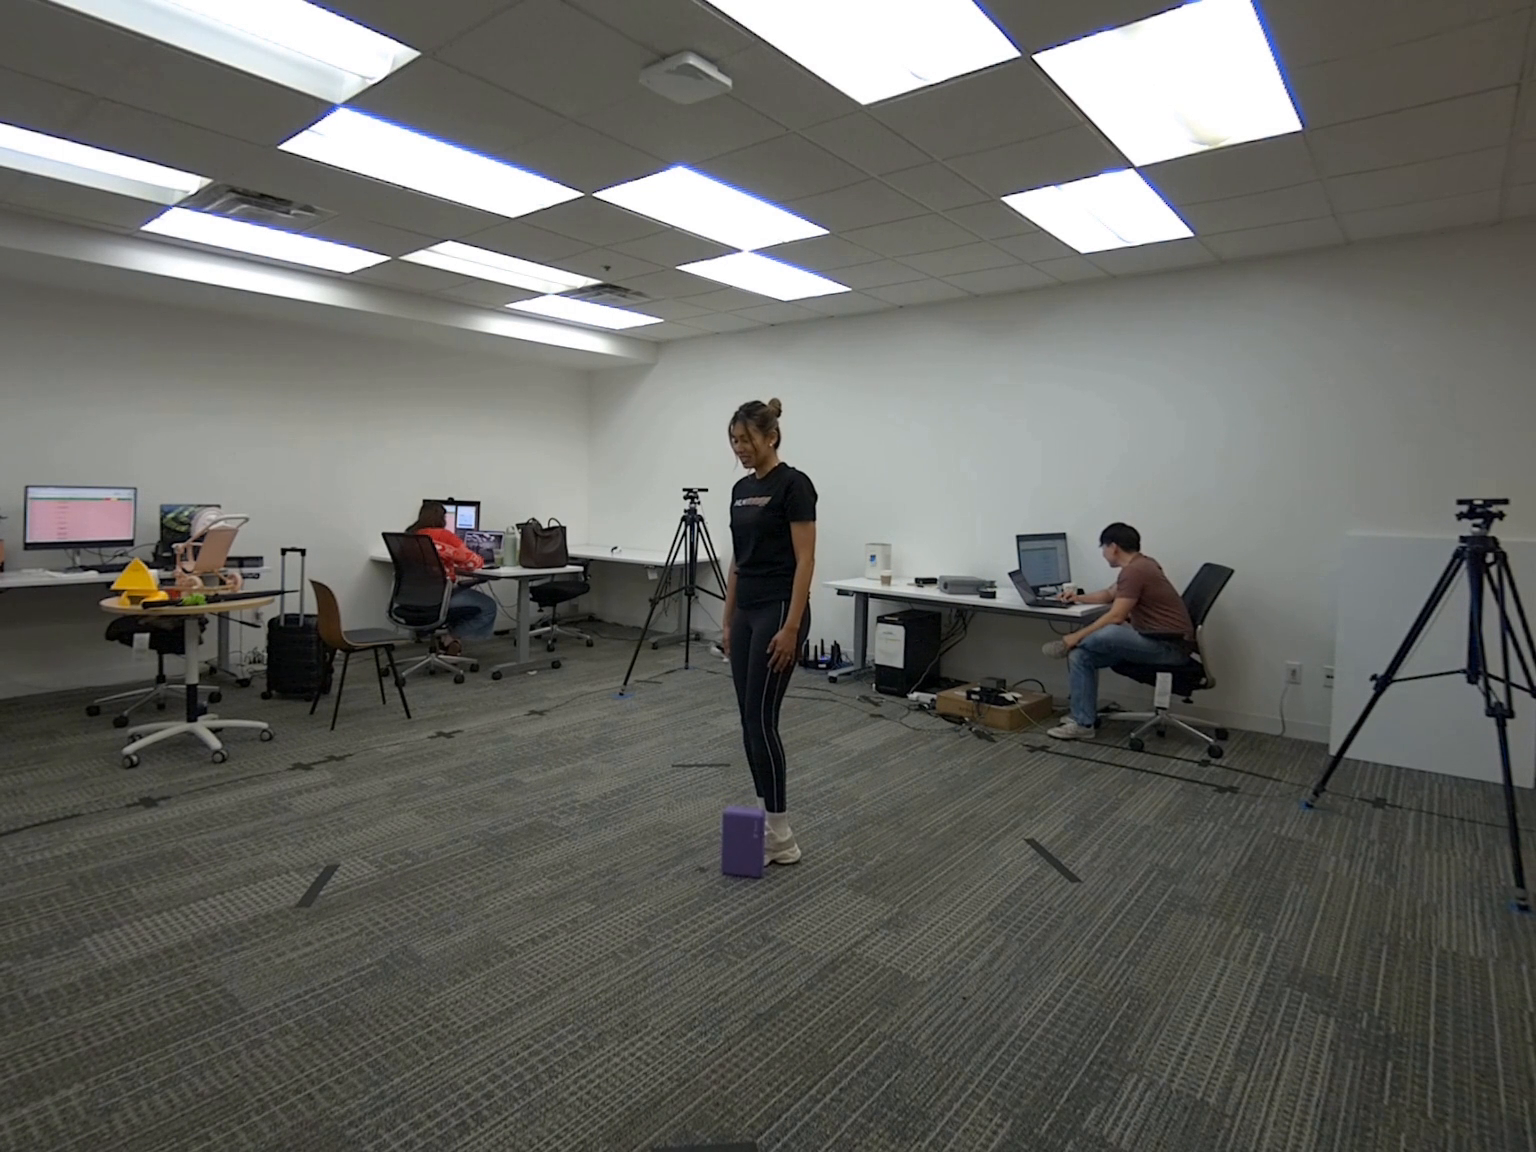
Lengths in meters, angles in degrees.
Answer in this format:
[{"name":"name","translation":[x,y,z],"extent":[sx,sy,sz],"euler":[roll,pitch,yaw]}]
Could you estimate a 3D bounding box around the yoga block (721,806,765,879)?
[{"name":"yoga block","translation":[-0.099,0.958,3.079],"extent":[0.151,0.228,0.076],"euler":[2,3,11]}]
